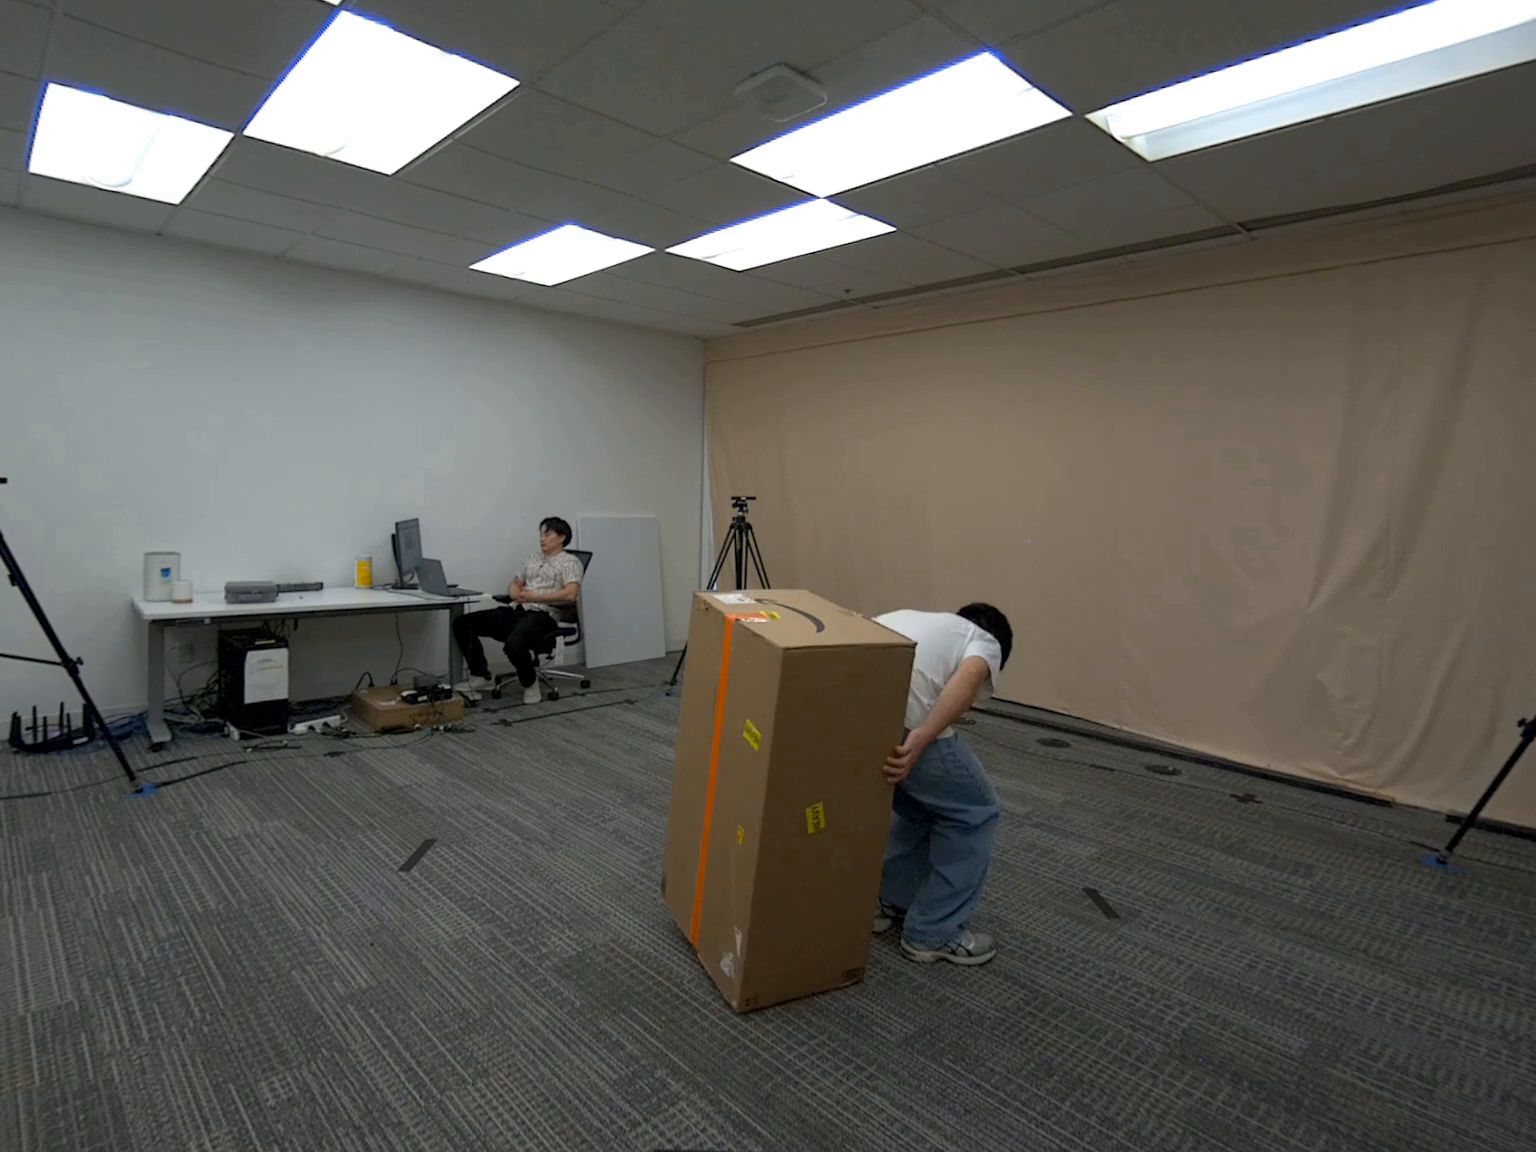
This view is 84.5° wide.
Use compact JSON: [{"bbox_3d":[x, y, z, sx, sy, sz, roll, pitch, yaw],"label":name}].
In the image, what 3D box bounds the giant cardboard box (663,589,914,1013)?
[{"bbox_3d":[0.023,0.604,2.503,0.417,1.019,0.593,1,12,-29],"label":"giant cardboard box"}]
